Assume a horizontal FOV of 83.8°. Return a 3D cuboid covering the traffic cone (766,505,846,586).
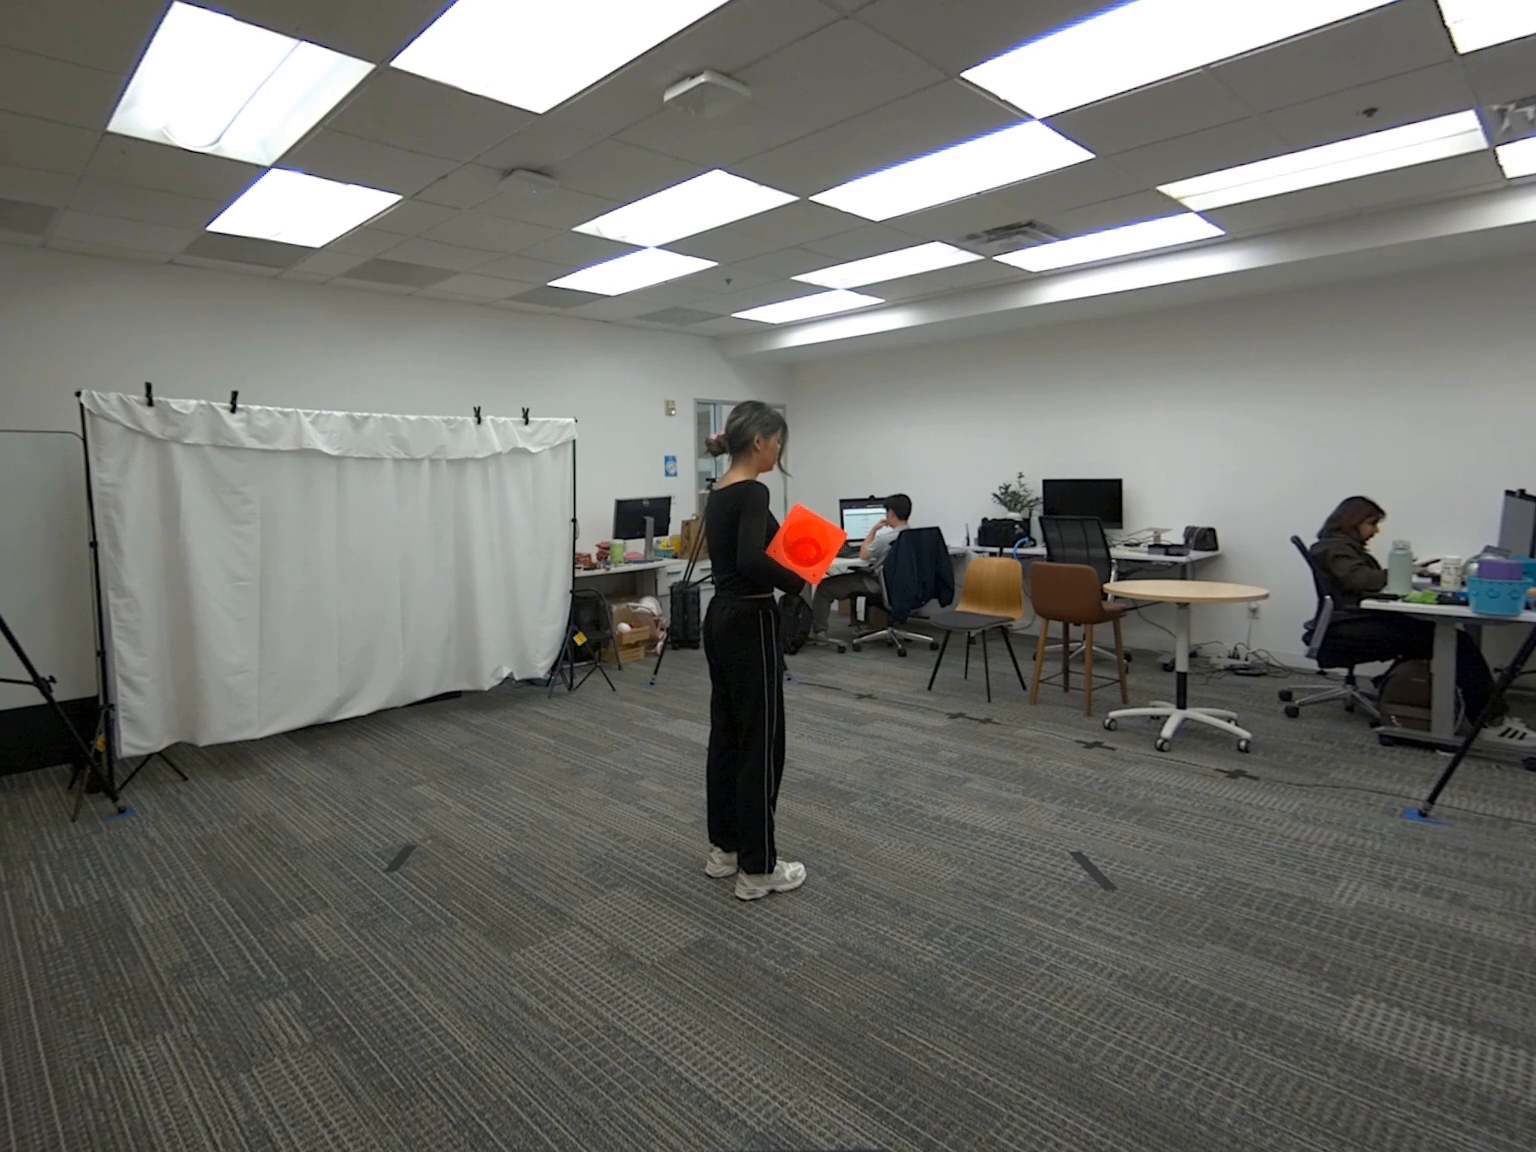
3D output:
[{"bbox_3d":[0.123,-0.089,2.922,0.206,0.203,0.381,30,-4,3],"label":"traffic cone"}]
